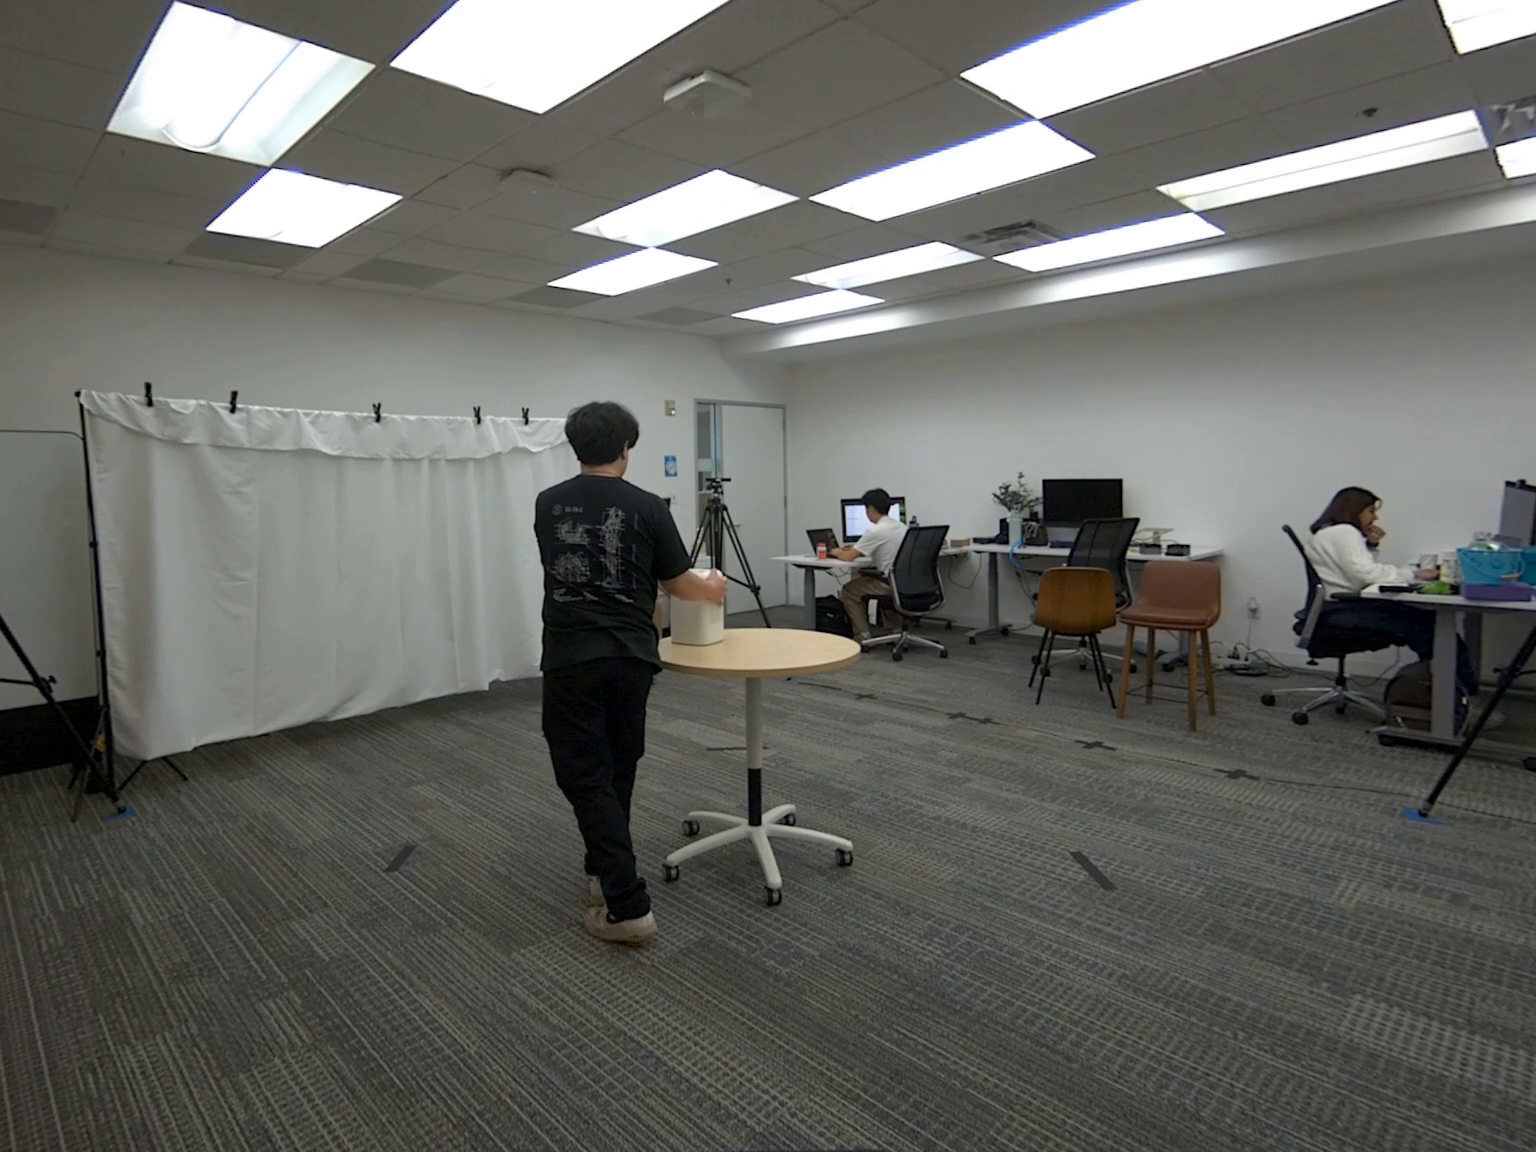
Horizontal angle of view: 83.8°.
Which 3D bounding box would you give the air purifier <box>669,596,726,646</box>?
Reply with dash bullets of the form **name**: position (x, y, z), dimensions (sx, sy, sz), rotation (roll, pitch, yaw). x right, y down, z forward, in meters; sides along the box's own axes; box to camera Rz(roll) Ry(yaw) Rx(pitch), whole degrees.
- **air purifier**: position (-0.261, 0.113, 3.177), dimensions (0.175, 0.264, 0.168), rotation (2, 4, 30)
